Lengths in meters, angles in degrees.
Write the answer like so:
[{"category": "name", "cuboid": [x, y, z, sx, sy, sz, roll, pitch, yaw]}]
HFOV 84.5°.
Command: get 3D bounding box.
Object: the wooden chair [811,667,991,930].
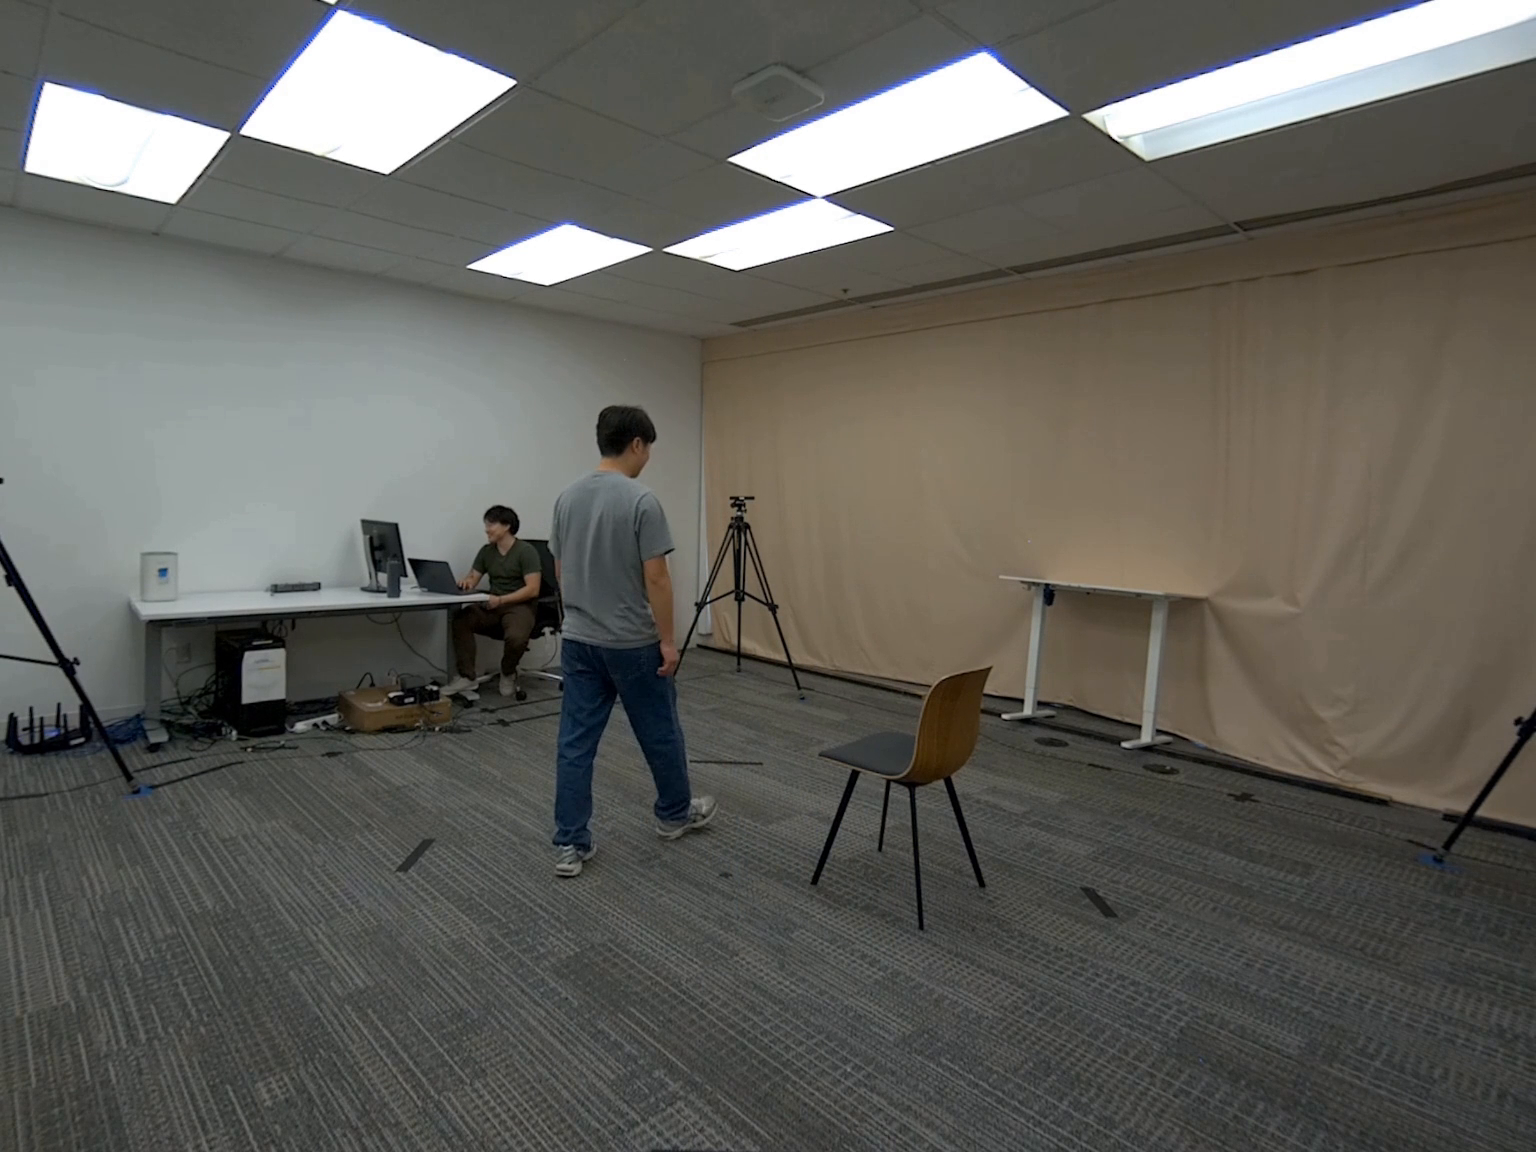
[{"category": "wooden chair", "cuboid": [0.470, 0.697, 3.021, 0.537, 0.874, 0.467, 10, 8, 41]}]
